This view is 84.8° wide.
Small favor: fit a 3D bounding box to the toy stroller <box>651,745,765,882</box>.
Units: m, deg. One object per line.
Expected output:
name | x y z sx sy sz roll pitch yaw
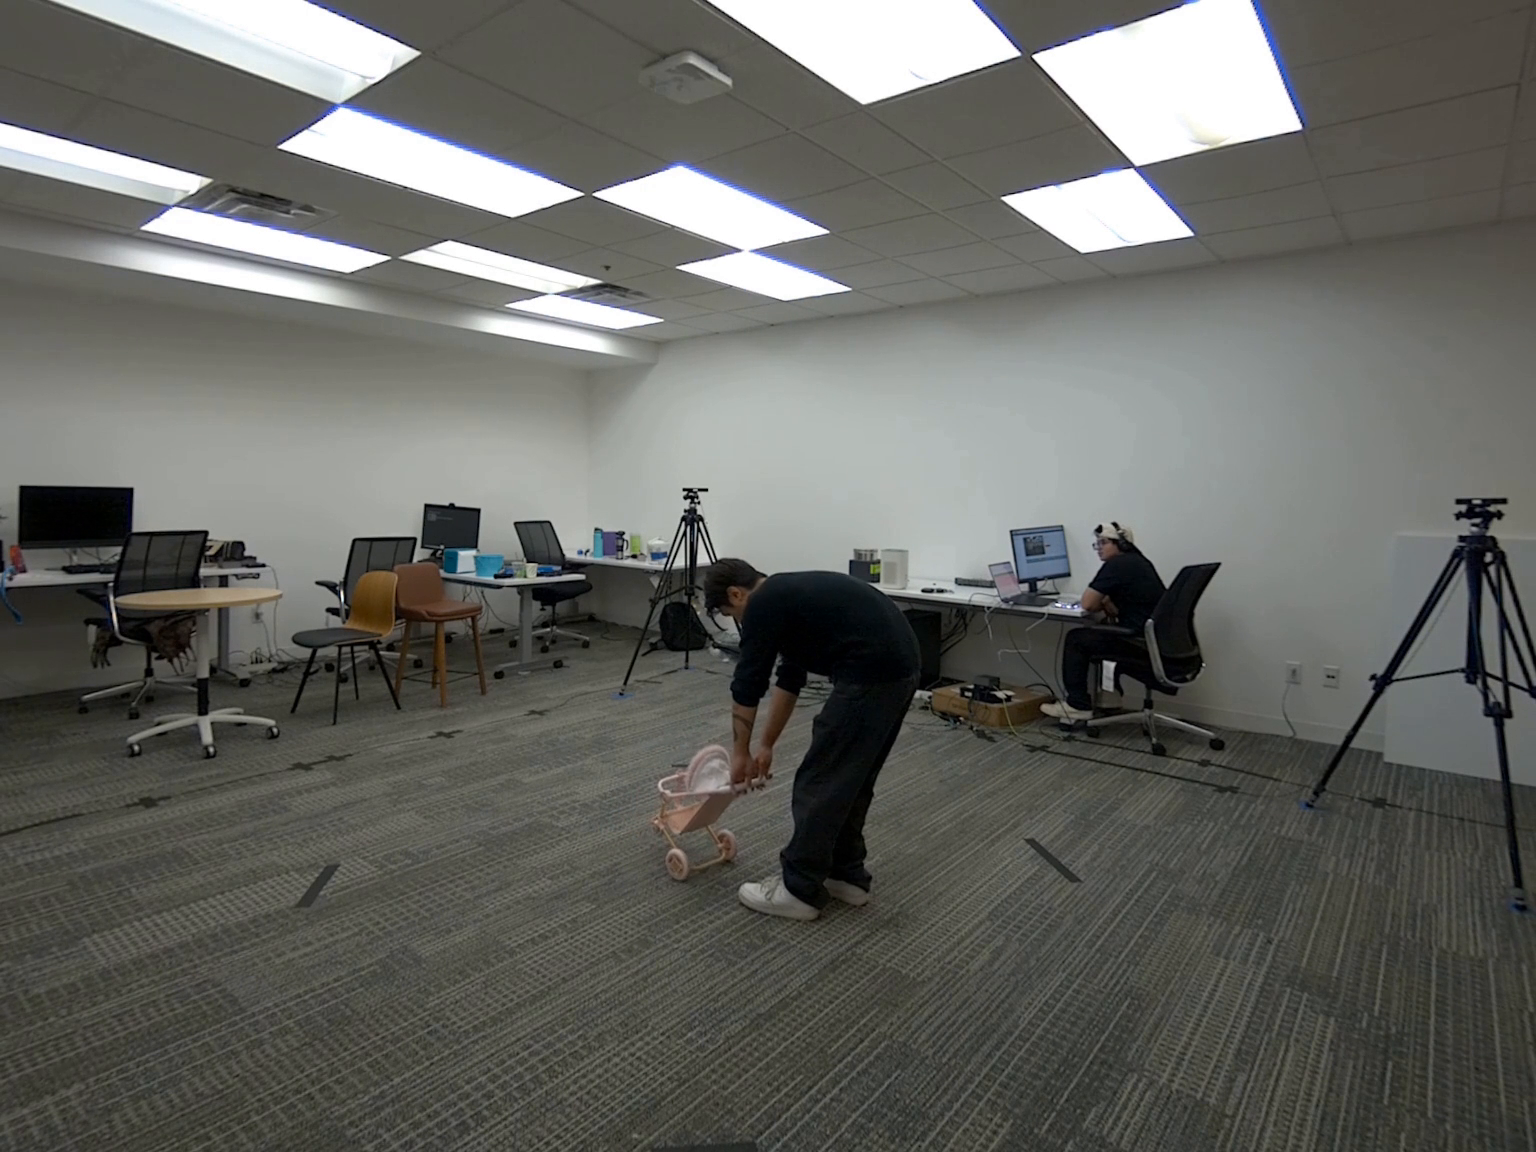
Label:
toy stroller | -0.261 0.836 3.120 0.272 0.529 0.356 0 32 -42
